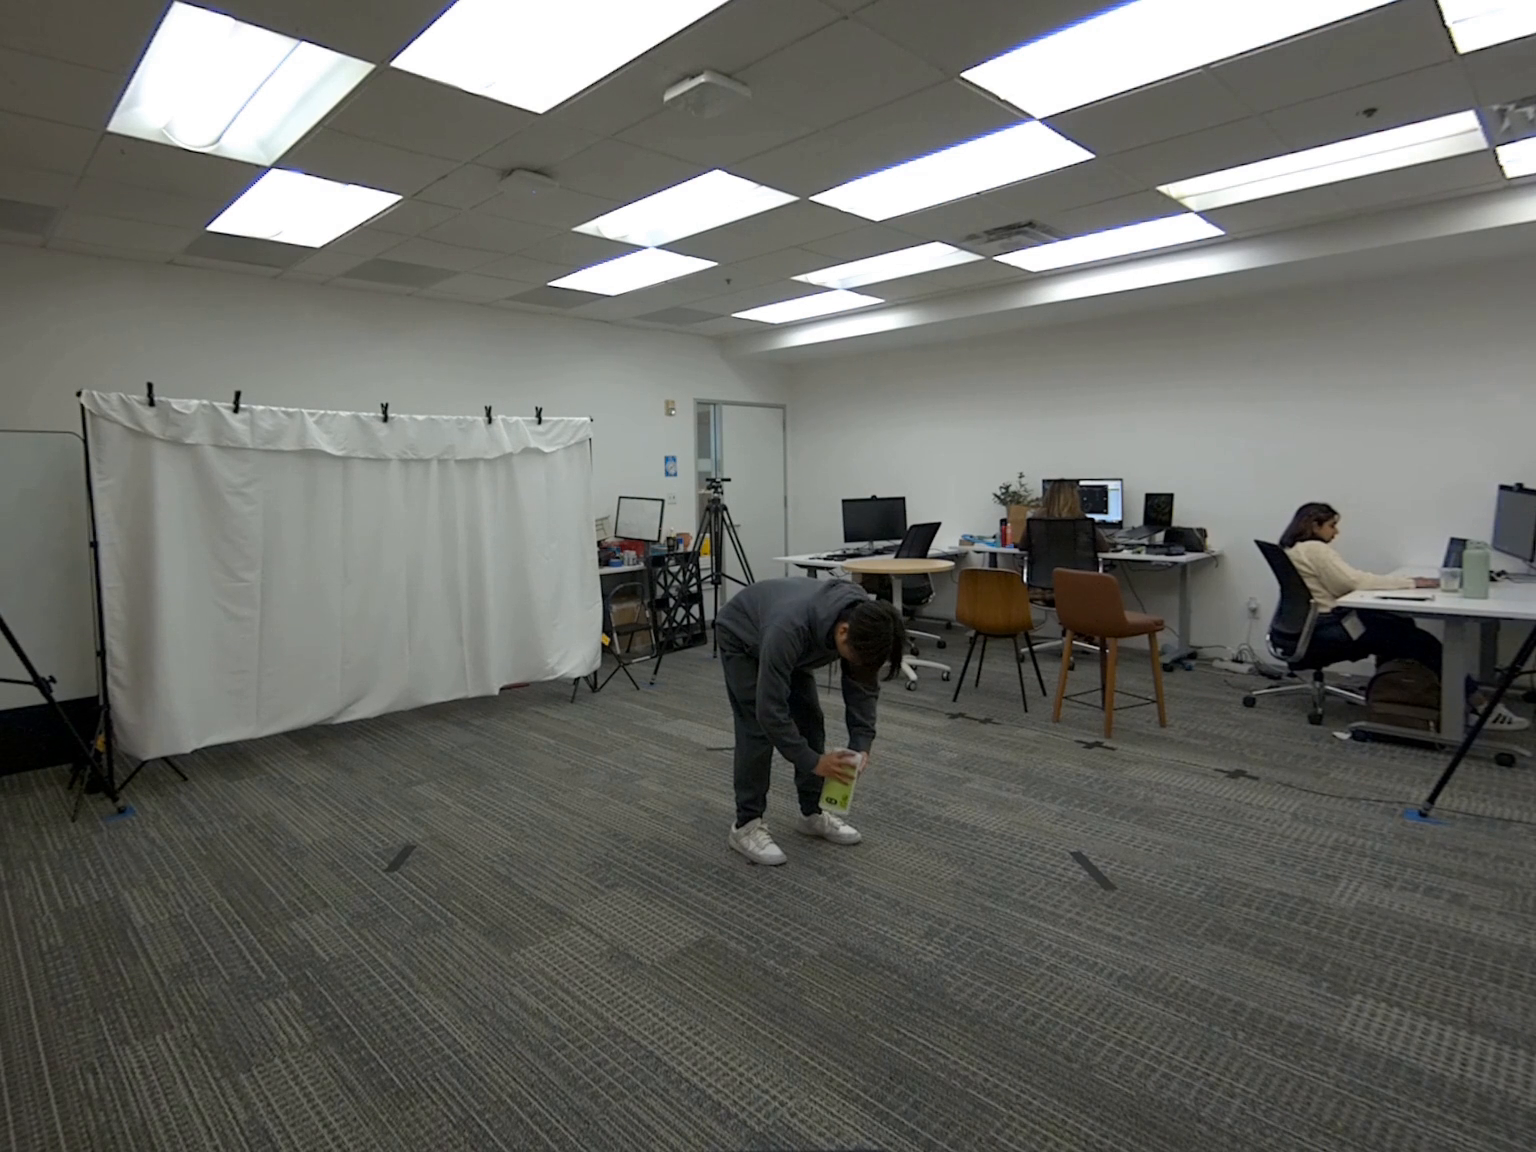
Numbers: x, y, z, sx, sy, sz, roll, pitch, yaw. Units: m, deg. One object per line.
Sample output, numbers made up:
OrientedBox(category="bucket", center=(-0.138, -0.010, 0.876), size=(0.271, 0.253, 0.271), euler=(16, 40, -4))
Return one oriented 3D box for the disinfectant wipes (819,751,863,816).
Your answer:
OrientedBox(category="disinfectant wipes", center=(0.262, 0.729, 3.016), size=(0.118, 0.218, 0.117), euler=(11, -4, -1))
